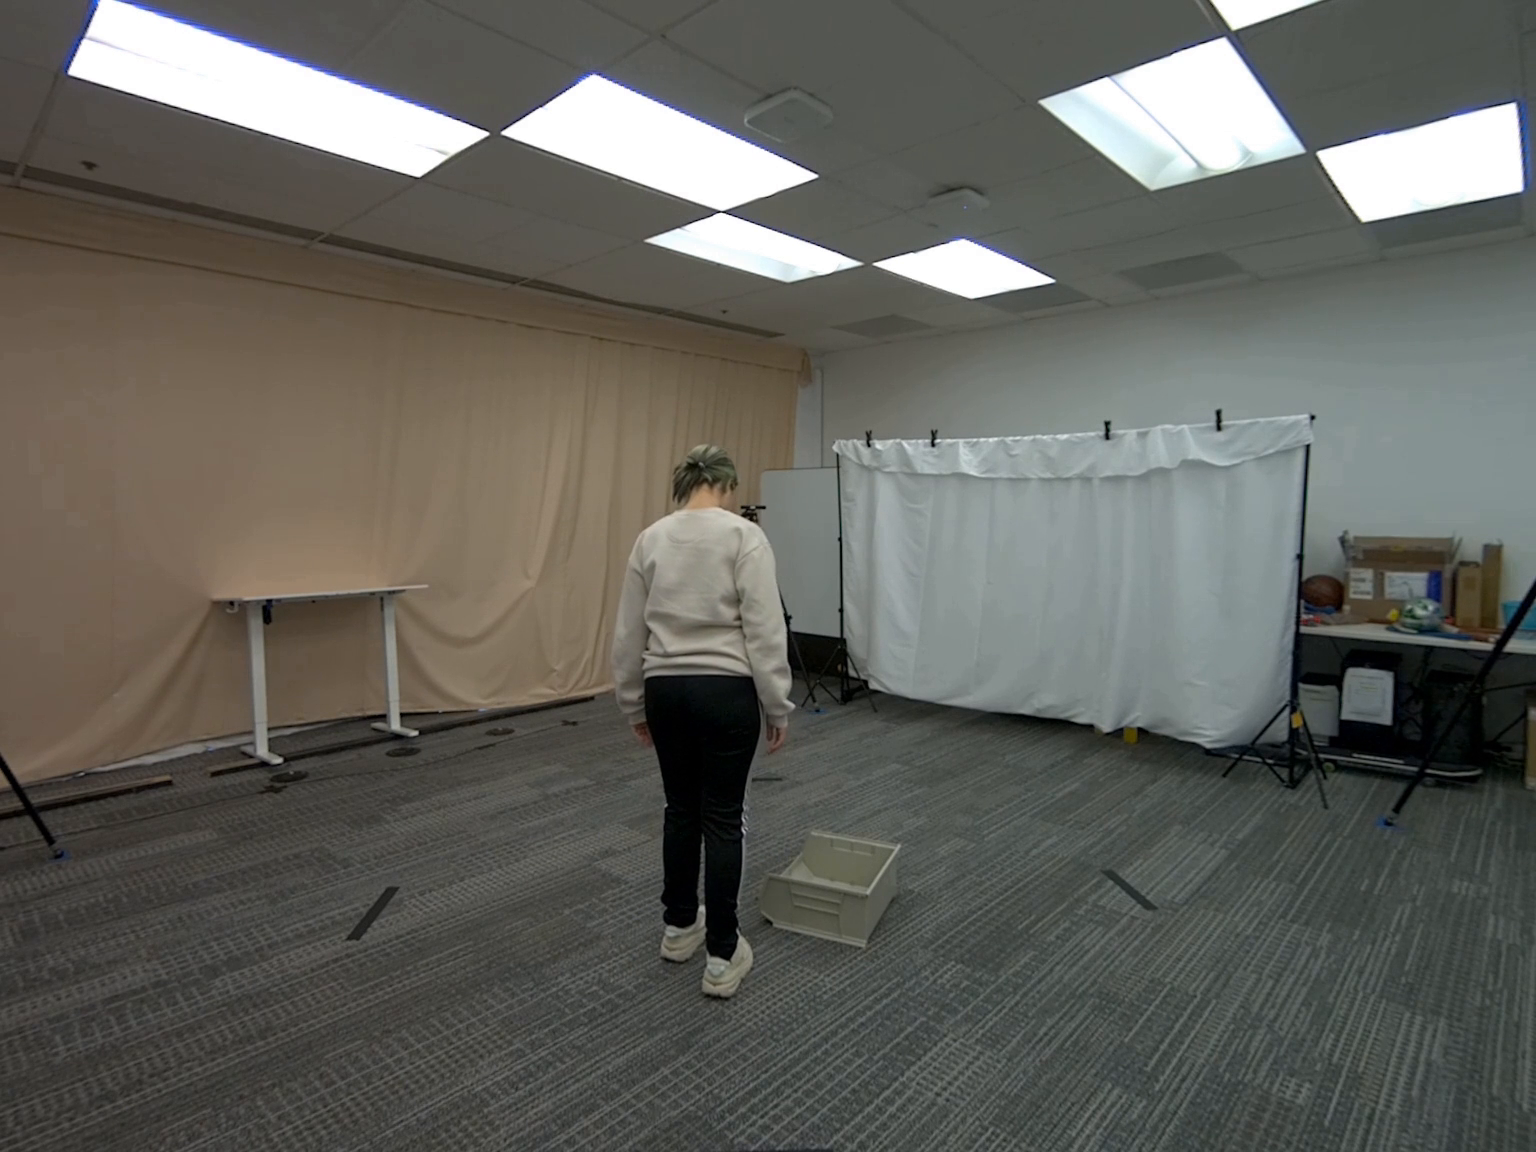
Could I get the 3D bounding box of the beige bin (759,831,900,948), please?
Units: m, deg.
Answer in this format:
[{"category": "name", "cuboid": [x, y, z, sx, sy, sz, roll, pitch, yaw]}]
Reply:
[{"category": "beige bin", "cuboid": [0.225, 1.062, 2.902, 0.387, 0.188, 0.413, 3, 5, 24]}]
